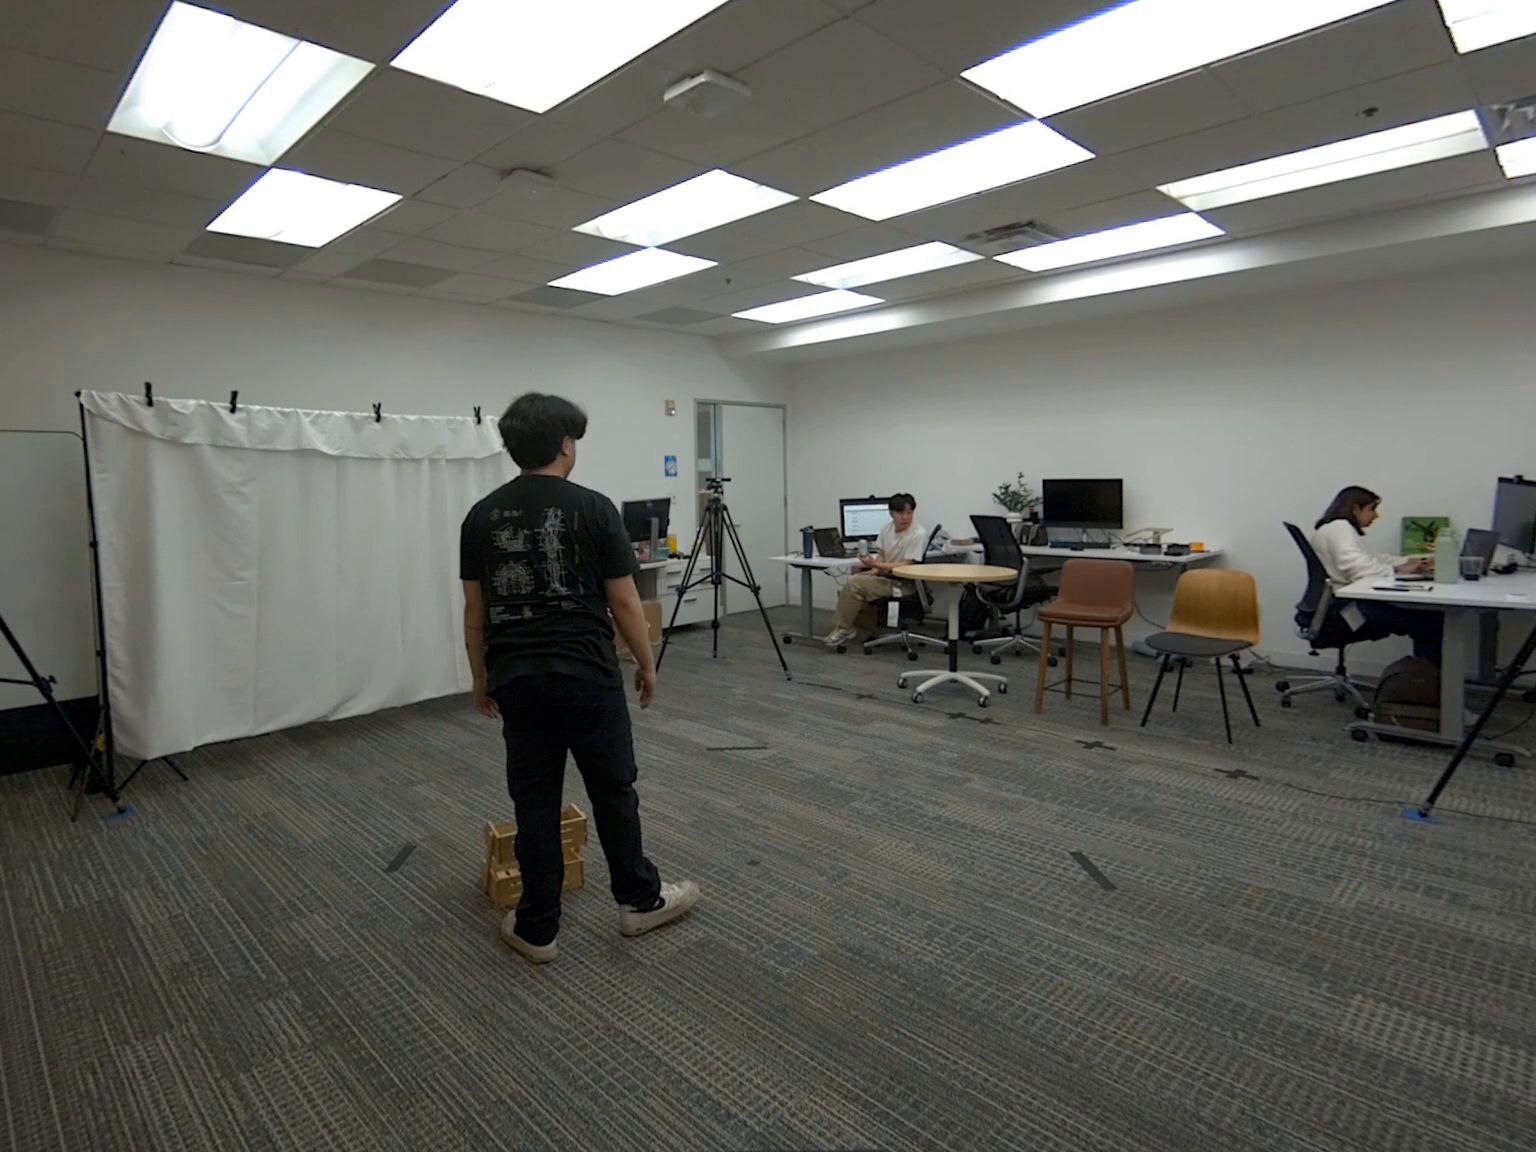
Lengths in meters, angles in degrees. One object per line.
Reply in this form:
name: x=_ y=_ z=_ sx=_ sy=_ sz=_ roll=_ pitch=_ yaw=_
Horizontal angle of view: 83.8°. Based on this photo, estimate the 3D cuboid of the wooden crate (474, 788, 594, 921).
wooden crate: x=-0.813 y=0.945 z=2.958 sx=0.317 sy=0.272 sz=0.310 roll=-4 pitch=7 yaw=-30
